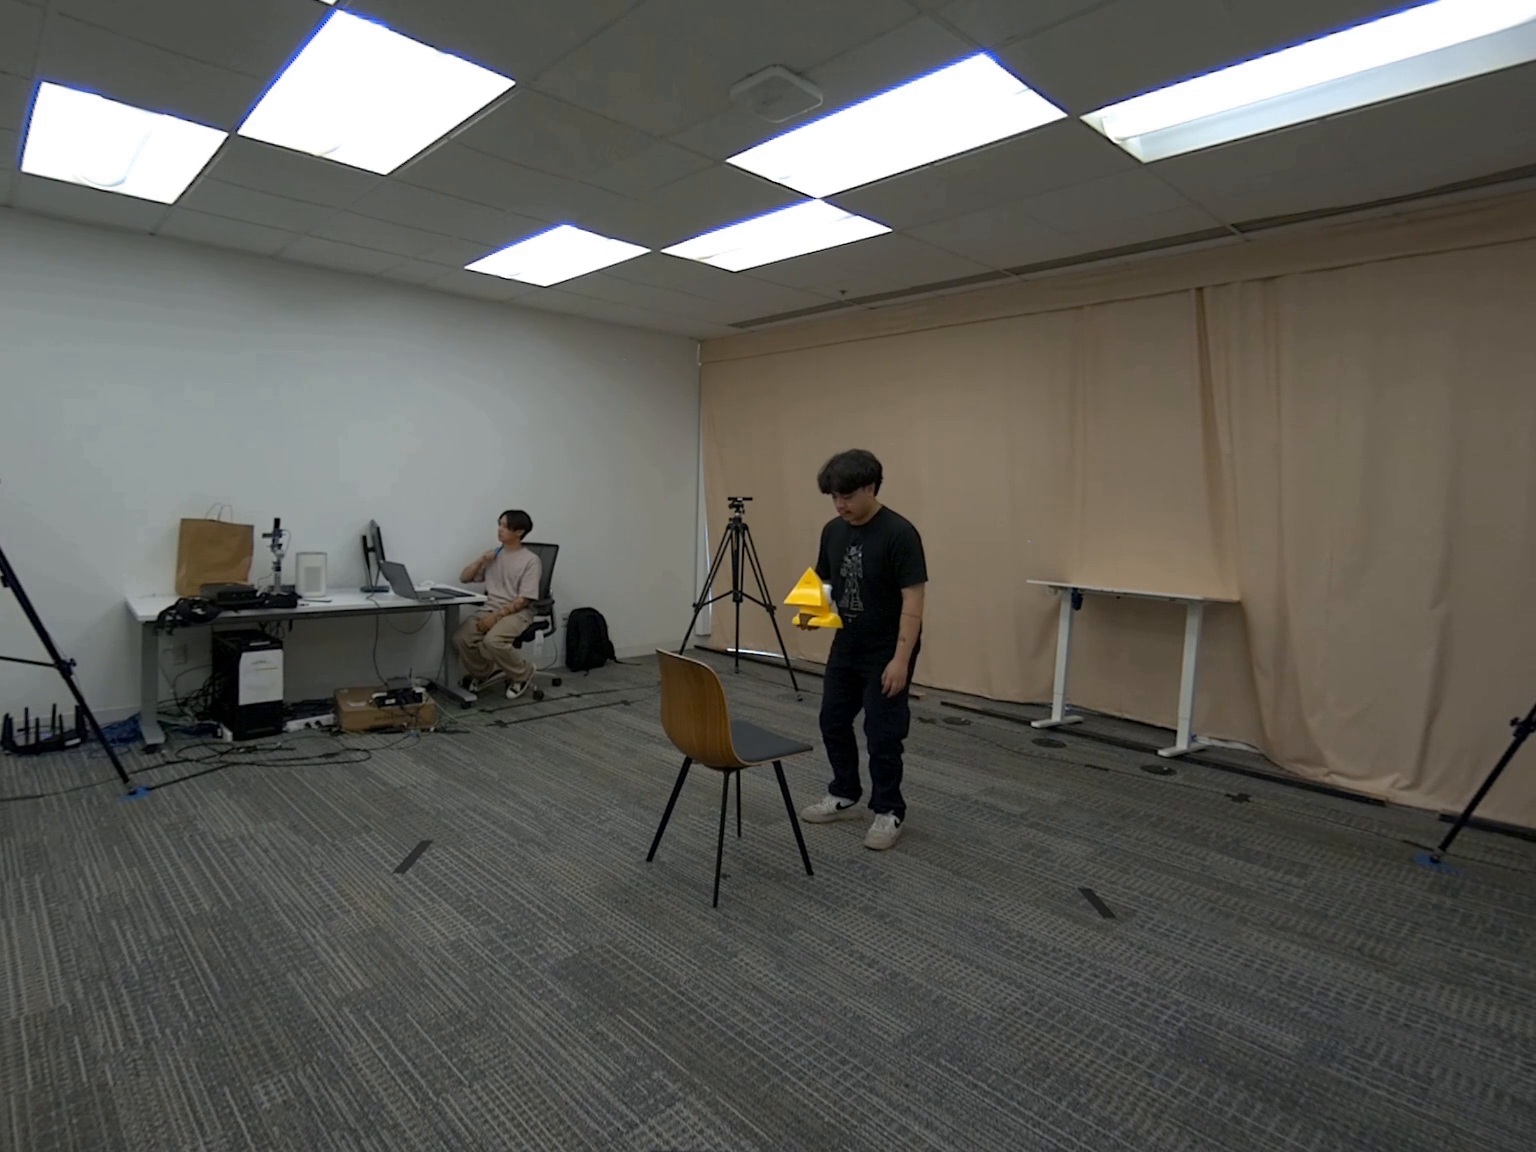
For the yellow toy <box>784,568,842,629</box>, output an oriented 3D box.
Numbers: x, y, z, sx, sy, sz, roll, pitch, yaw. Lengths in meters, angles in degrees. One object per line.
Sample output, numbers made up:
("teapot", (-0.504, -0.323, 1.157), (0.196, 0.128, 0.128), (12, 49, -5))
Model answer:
("yellow toy", (0.193, 0.088, 3.404), (0.188, 0.231, 0.210), (8, -4, -43))
